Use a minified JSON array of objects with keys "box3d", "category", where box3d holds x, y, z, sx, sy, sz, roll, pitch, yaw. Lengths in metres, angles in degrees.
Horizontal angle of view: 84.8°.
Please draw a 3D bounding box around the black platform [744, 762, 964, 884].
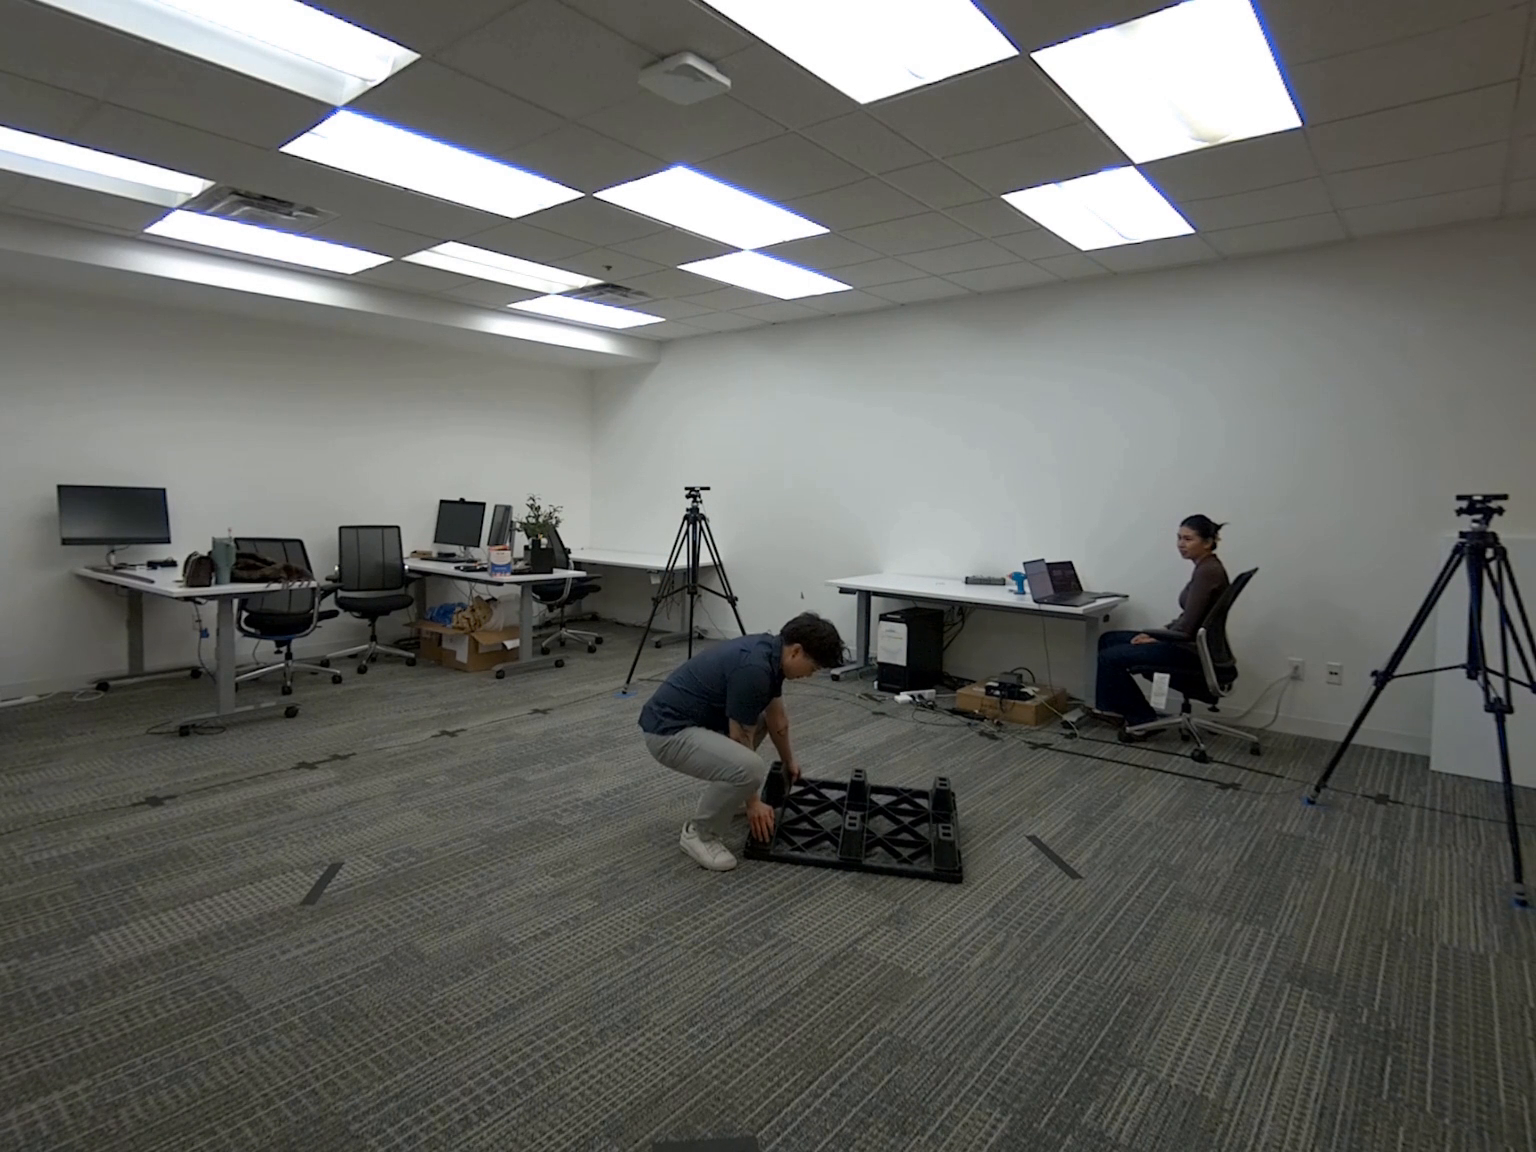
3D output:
[{"box3d":[0.354,0.942,3.377,0.816,0.141,0.605,3,15,11],"category":"black platform"}]
